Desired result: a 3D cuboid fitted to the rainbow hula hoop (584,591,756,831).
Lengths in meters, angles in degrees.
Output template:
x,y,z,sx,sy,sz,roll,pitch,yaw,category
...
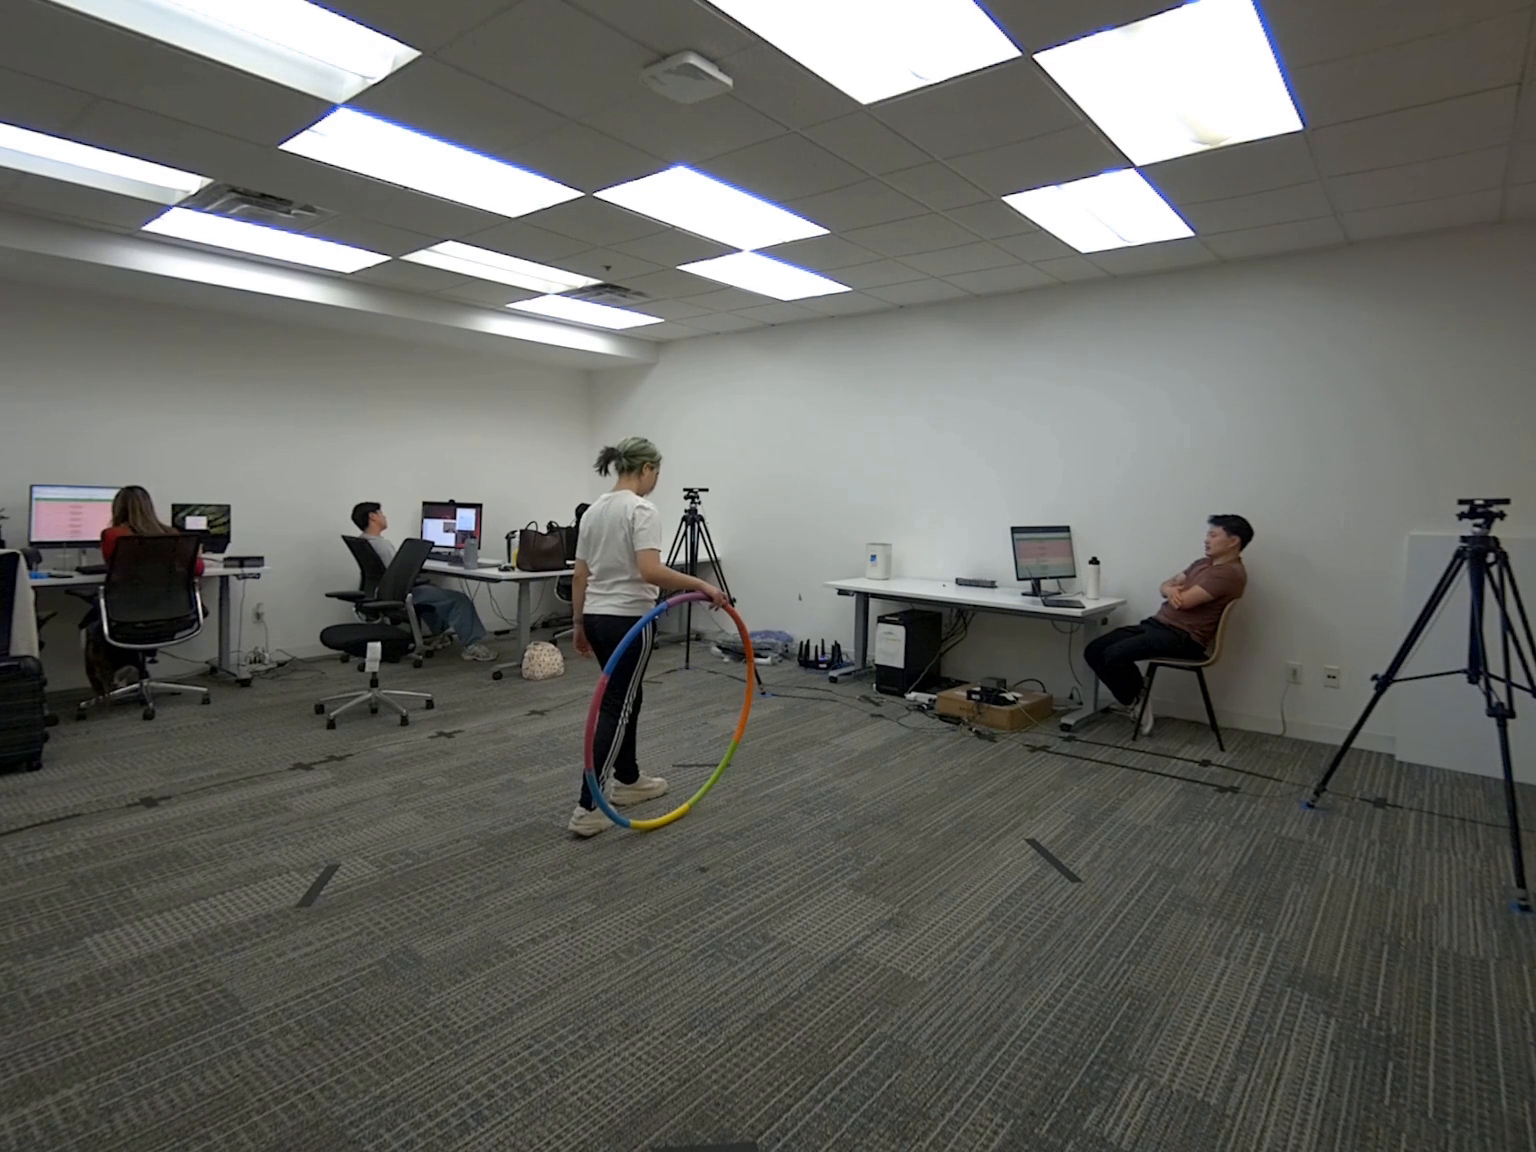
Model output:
x,y,z,sx,sy,sz,roll,pitch,yaw,category
-0.387,0.539,3.471,0.037,0.972,0.950,11,10,38,rainbow hula hoop
